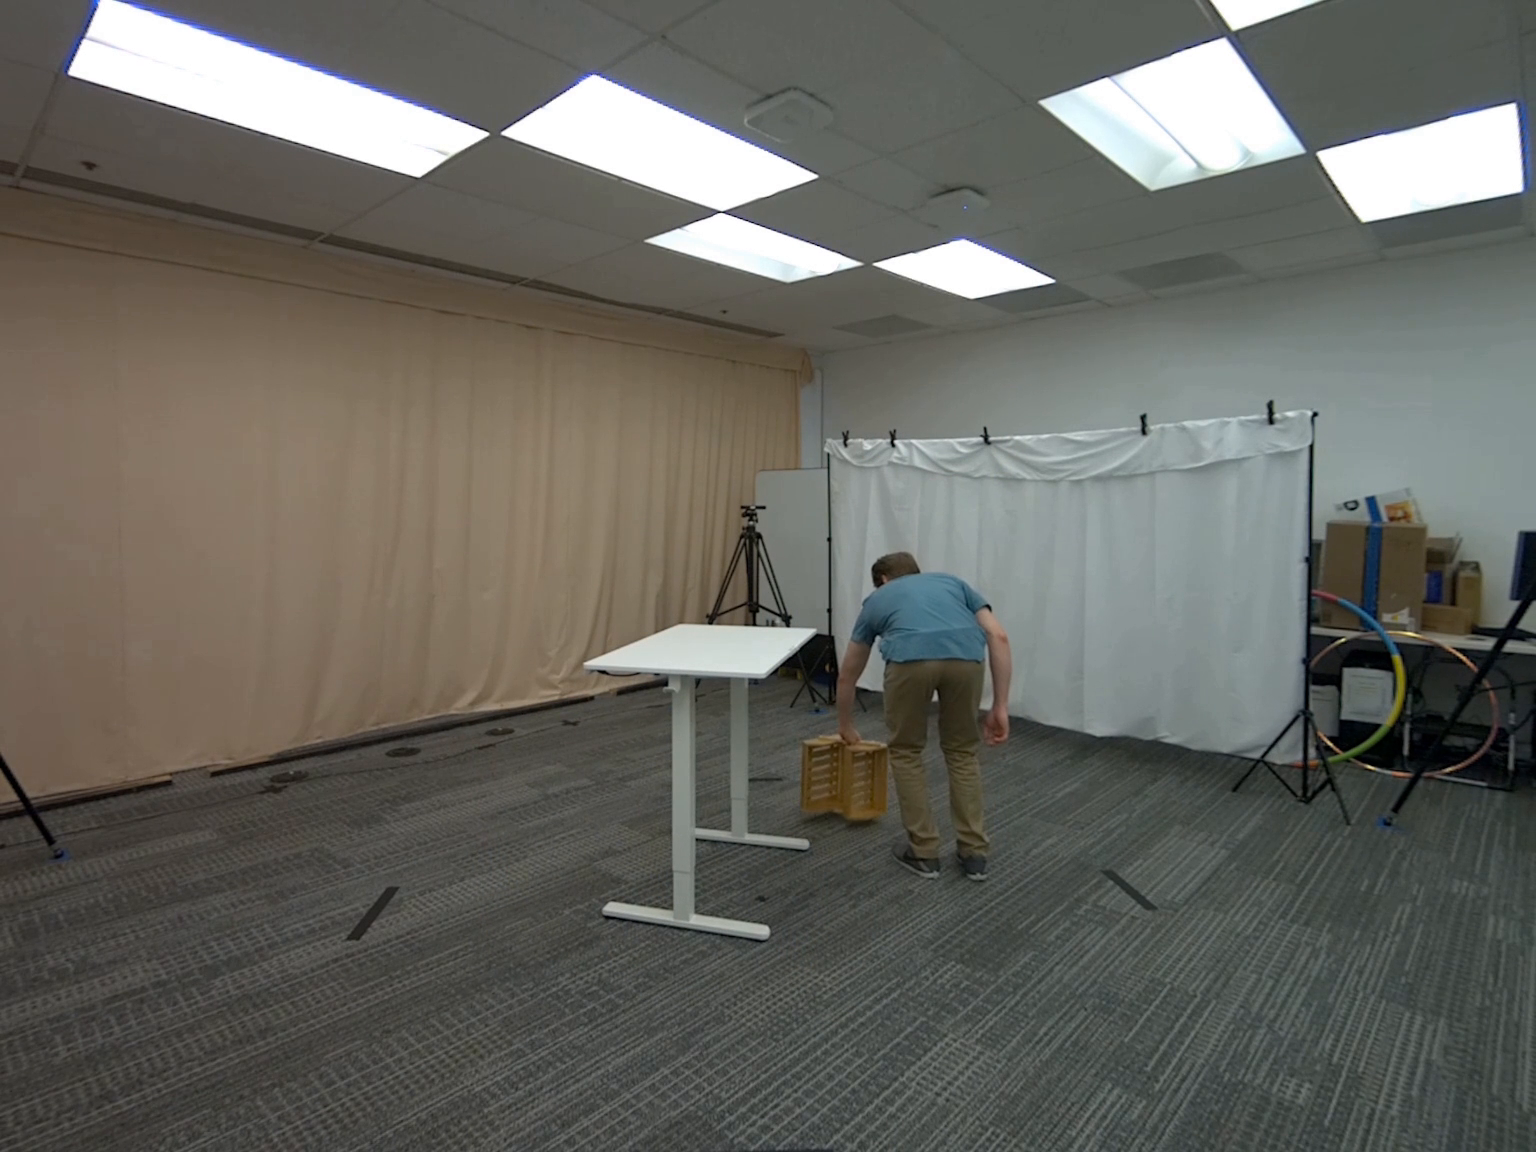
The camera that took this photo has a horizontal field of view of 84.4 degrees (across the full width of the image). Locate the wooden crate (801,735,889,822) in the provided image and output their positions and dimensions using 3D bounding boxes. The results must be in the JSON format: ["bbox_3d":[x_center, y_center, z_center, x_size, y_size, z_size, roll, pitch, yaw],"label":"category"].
[{"bbox_3d":[0.339,0.886,3.699,0.292,0.324,0.282,-1,3,-43],"label":"wooden crate"}]
